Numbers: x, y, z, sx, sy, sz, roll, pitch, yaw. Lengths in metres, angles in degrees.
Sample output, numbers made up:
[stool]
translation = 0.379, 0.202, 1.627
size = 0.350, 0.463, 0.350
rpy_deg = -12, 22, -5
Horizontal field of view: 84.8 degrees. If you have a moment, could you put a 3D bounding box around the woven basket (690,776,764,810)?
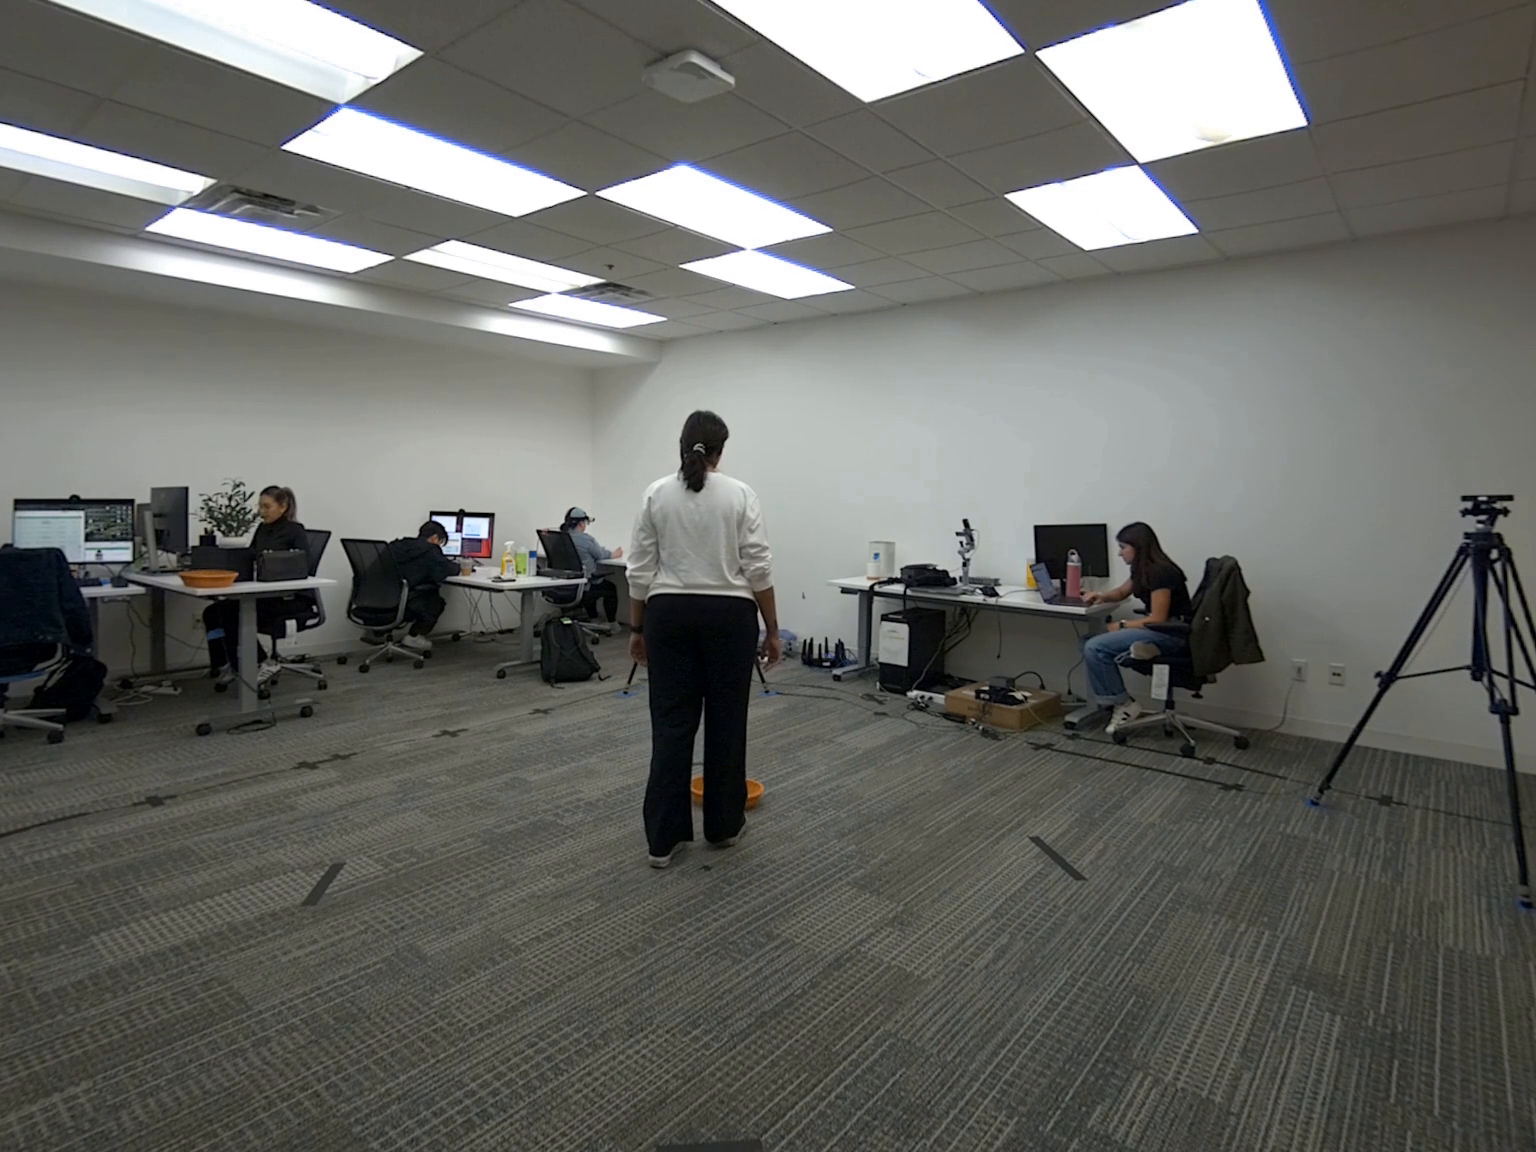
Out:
[woven basket]
translation = -0.192, 0.961, 3.769
size = 0.358, 0.073, 0.248
rpy_deg = 3, 6, 19
